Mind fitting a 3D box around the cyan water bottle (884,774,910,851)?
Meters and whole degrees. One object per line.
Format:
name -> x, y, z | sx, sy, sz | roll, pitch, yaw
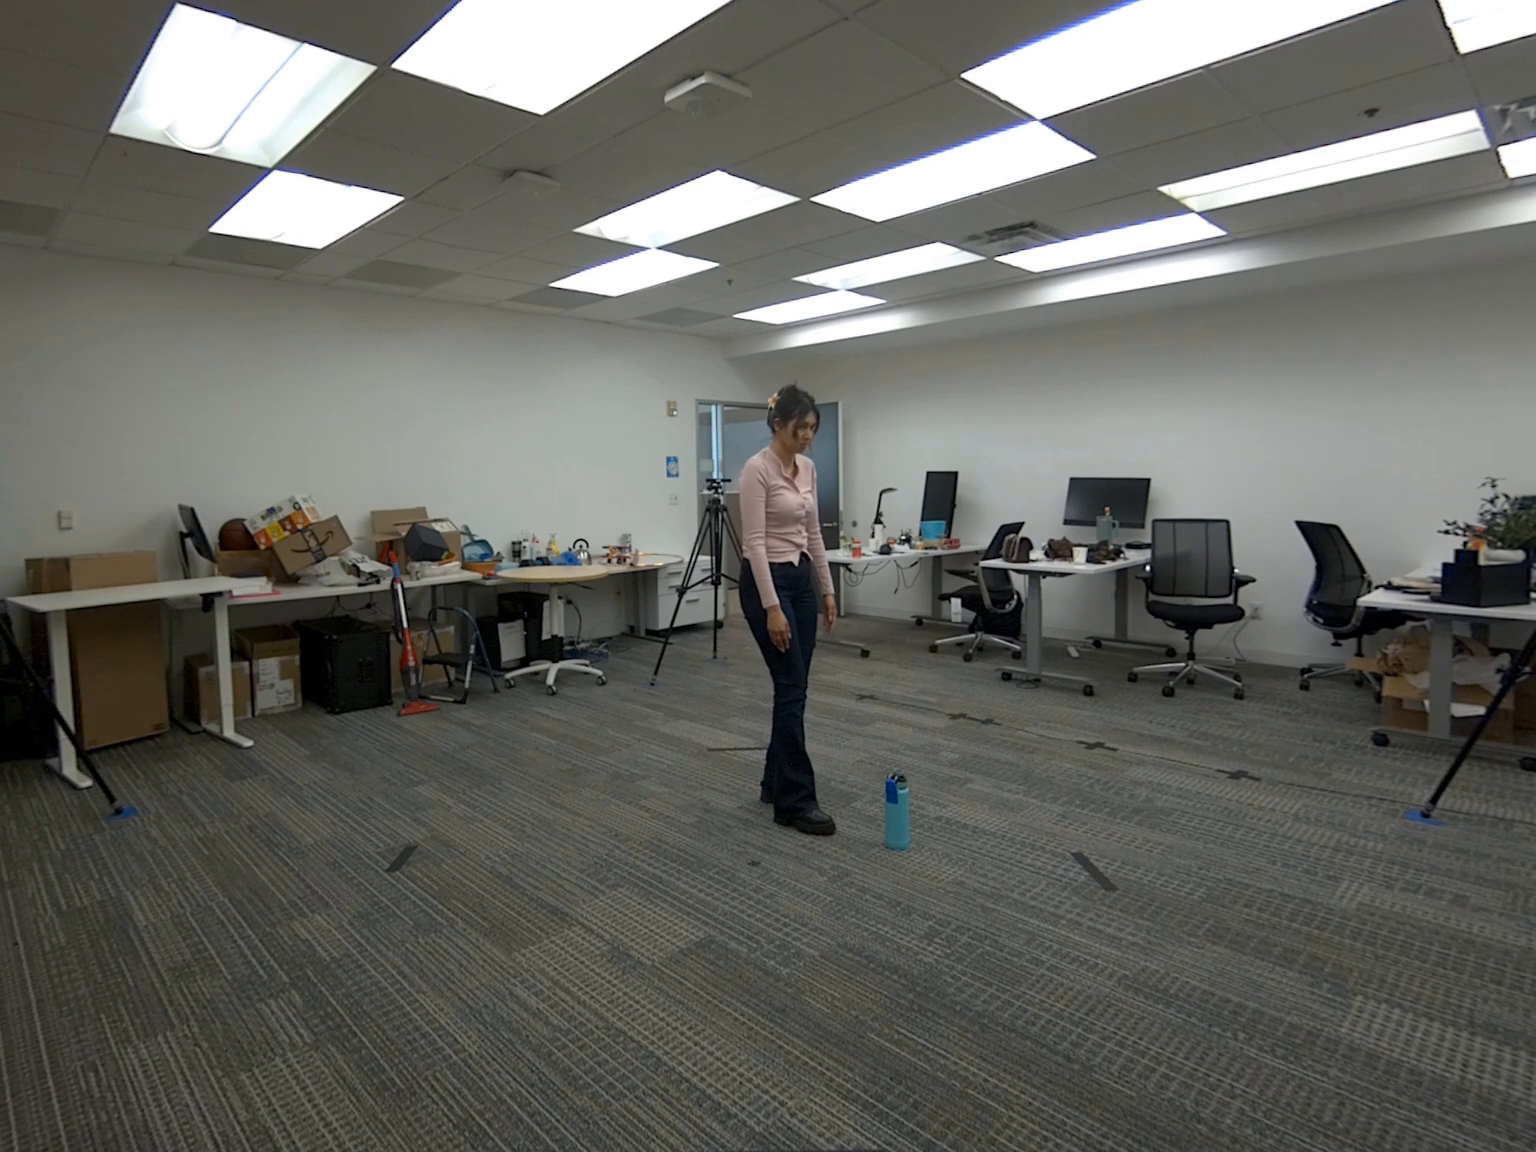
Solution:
cyan water bottle -> 0.497, 0.882, 3.226 | 0.092, 0.282, 0.093 | -2, 4, -2
